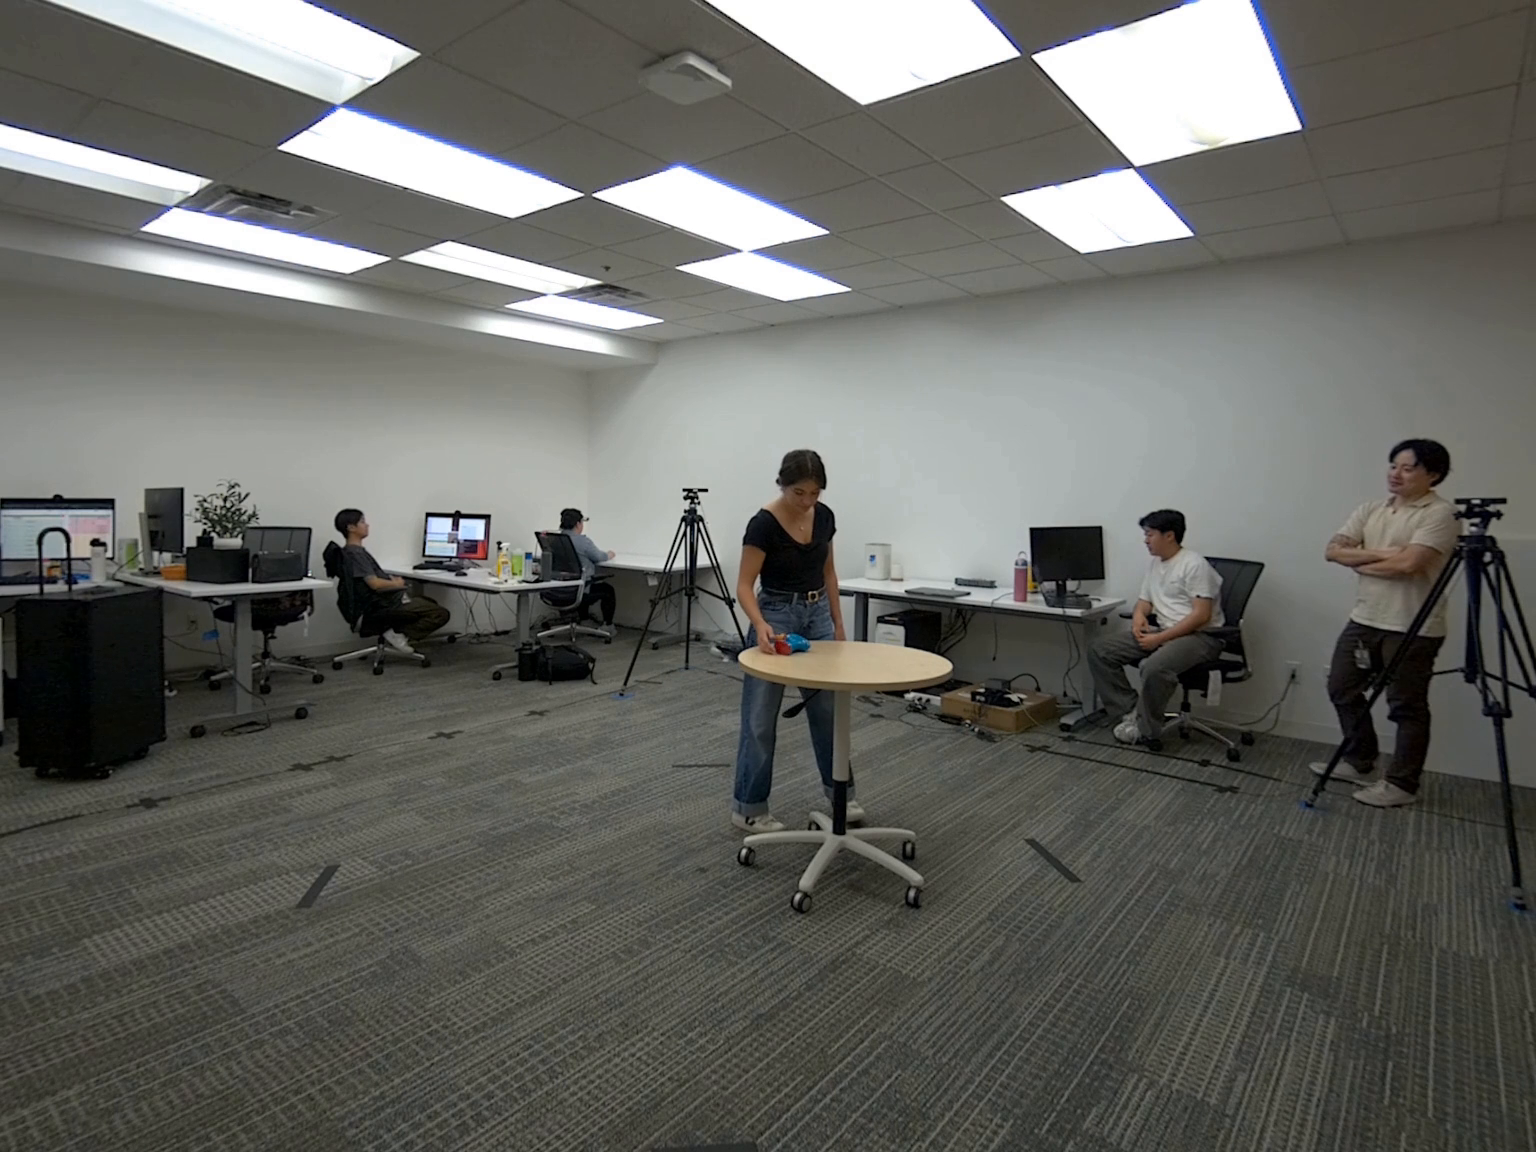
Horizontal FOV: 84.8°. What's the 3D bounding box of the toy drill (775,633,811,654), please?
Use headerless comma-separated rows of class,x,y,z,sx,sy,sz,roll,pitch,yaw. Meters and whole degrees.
toy drill,0.067,0.247,3.228,0.176,0.060,0.142,18,15,39
